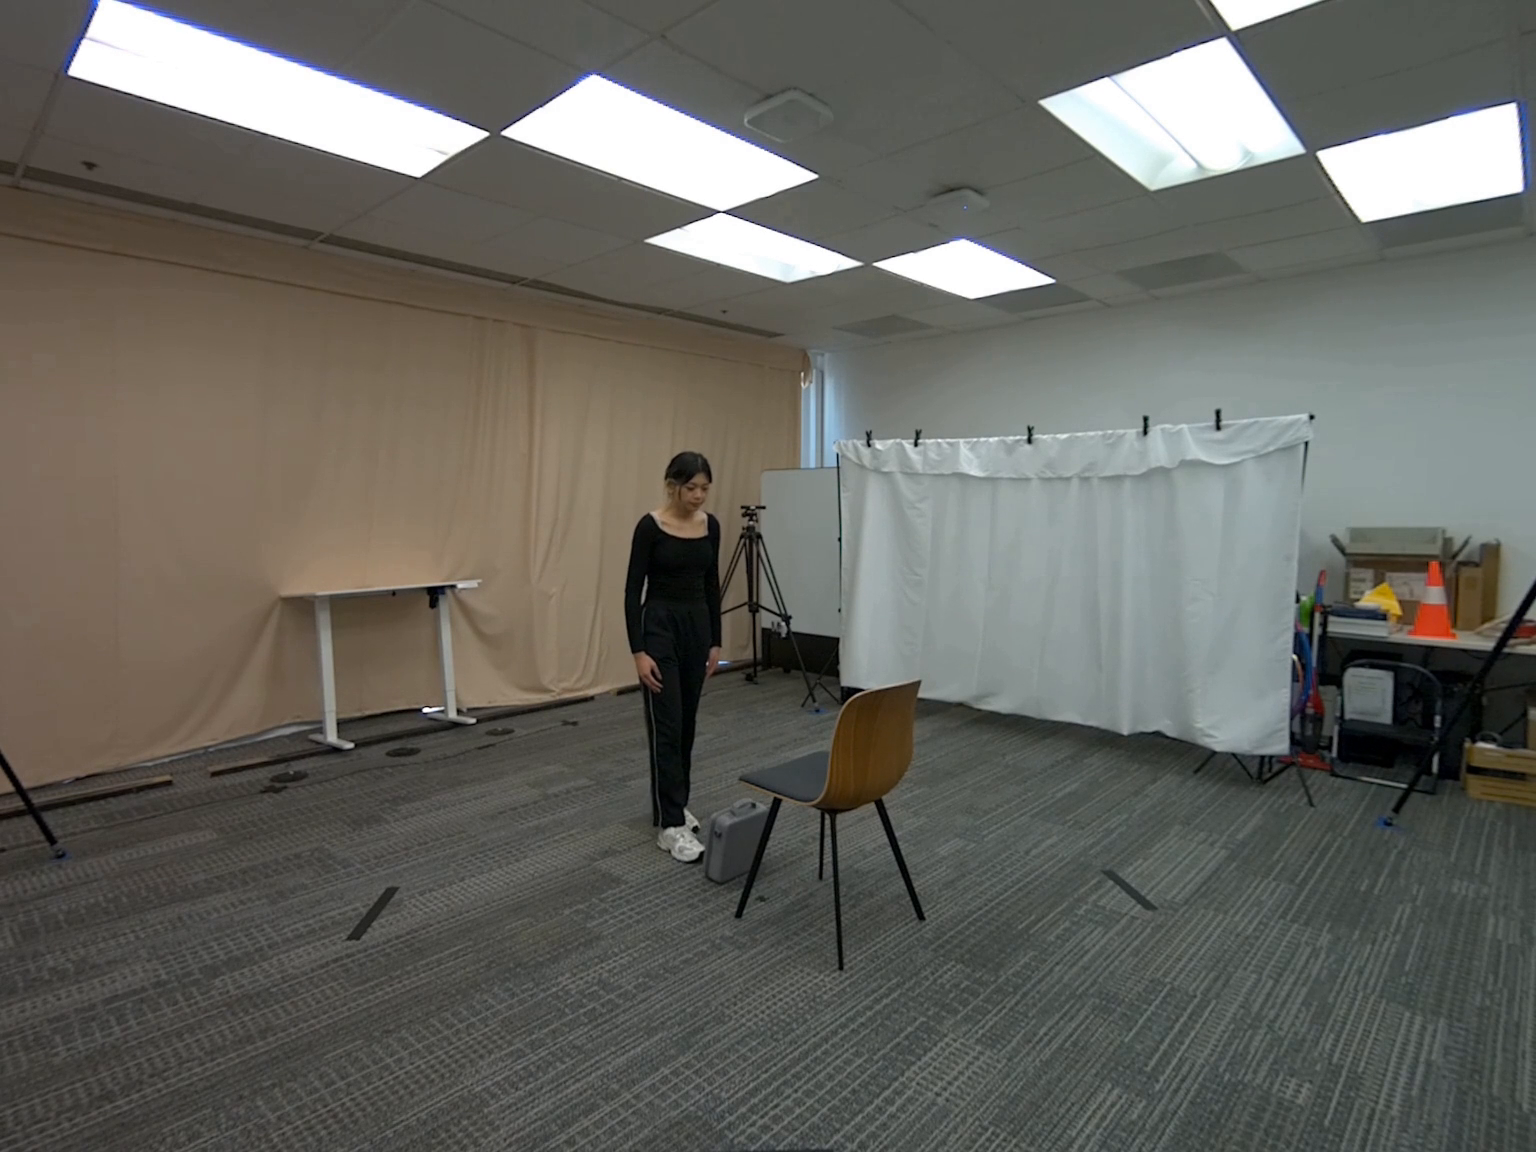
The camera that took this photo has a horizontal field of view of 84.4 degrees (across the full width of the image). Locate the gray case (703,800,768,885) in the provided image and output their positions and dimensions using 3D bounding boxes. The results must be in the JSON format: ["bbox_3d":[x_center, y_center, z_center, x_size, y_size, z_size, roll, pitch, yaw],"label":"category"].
[{"bbox_3d":[-0.115,0.998,3.183,0.108,0.259,0.249,16,14,42],"label":"gray case"}]
